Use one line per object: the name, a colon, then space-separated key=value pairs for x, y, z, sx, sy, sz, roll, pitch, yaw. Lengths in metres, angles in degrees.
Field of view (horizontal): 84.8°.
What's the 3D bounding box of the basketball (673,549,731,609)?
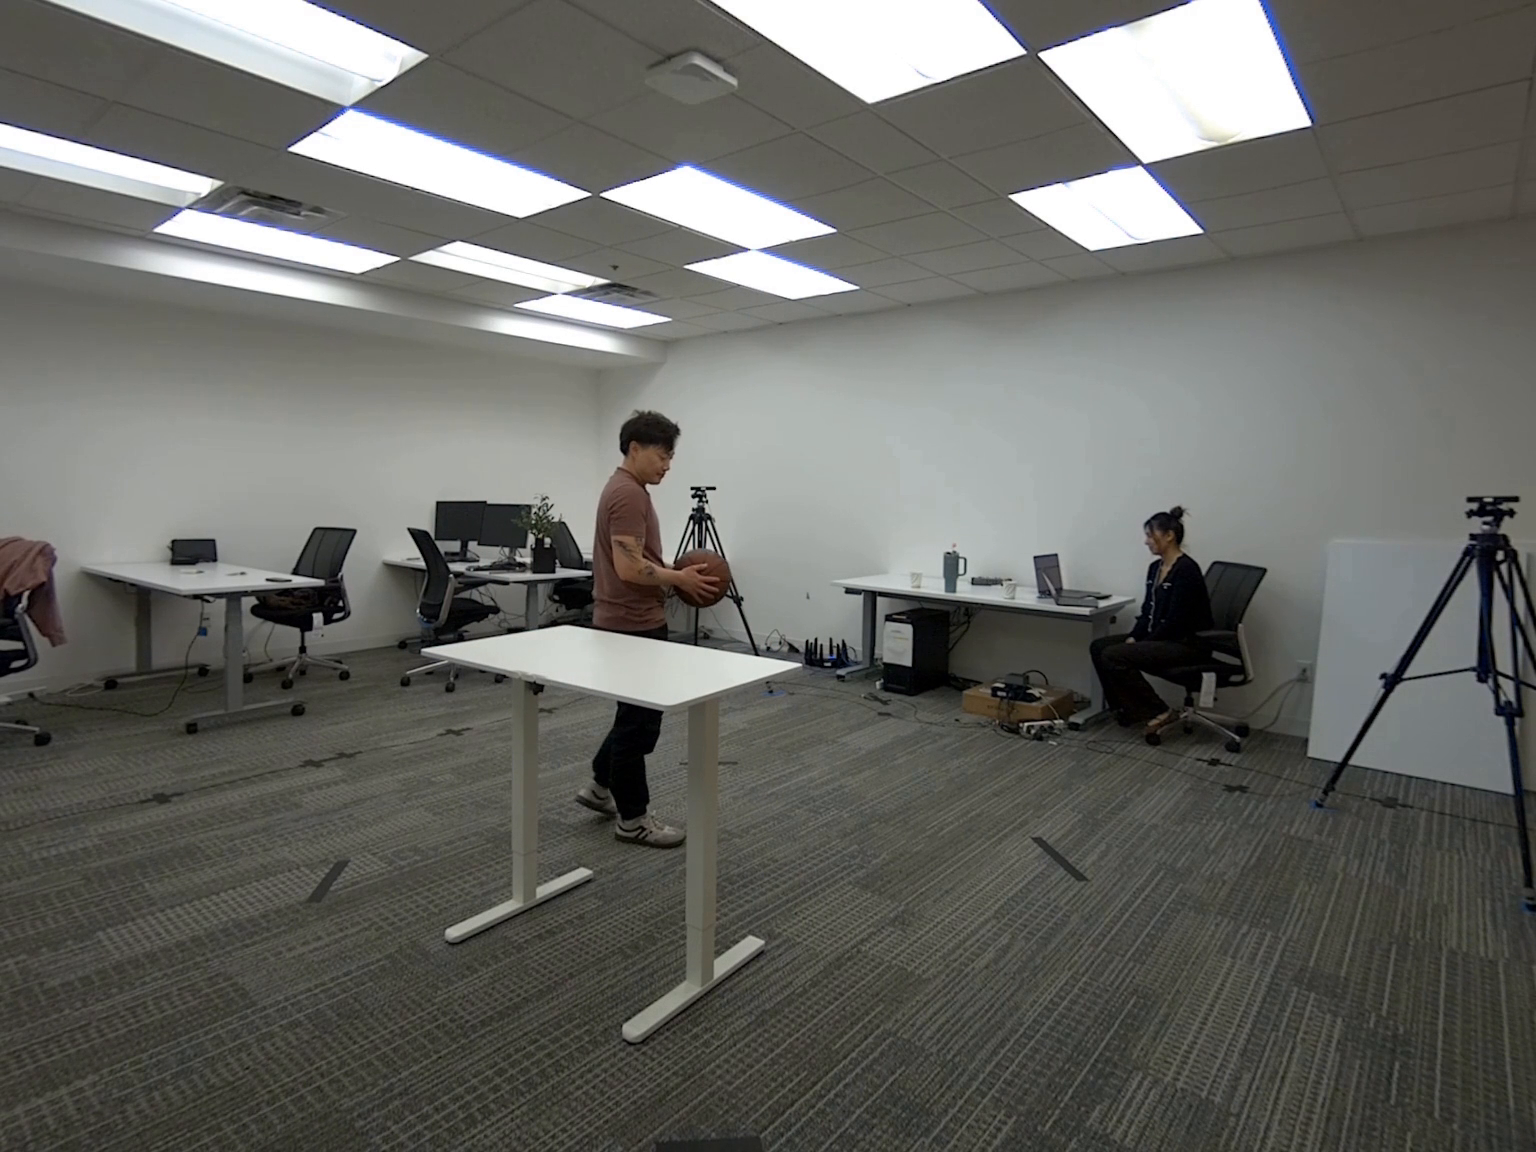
basketball: x=-0.281 y=0.011 z=3.360 sx=0.235 sy=0.235 sz=0.237 roll=1 pitch=4 yaw=-2
